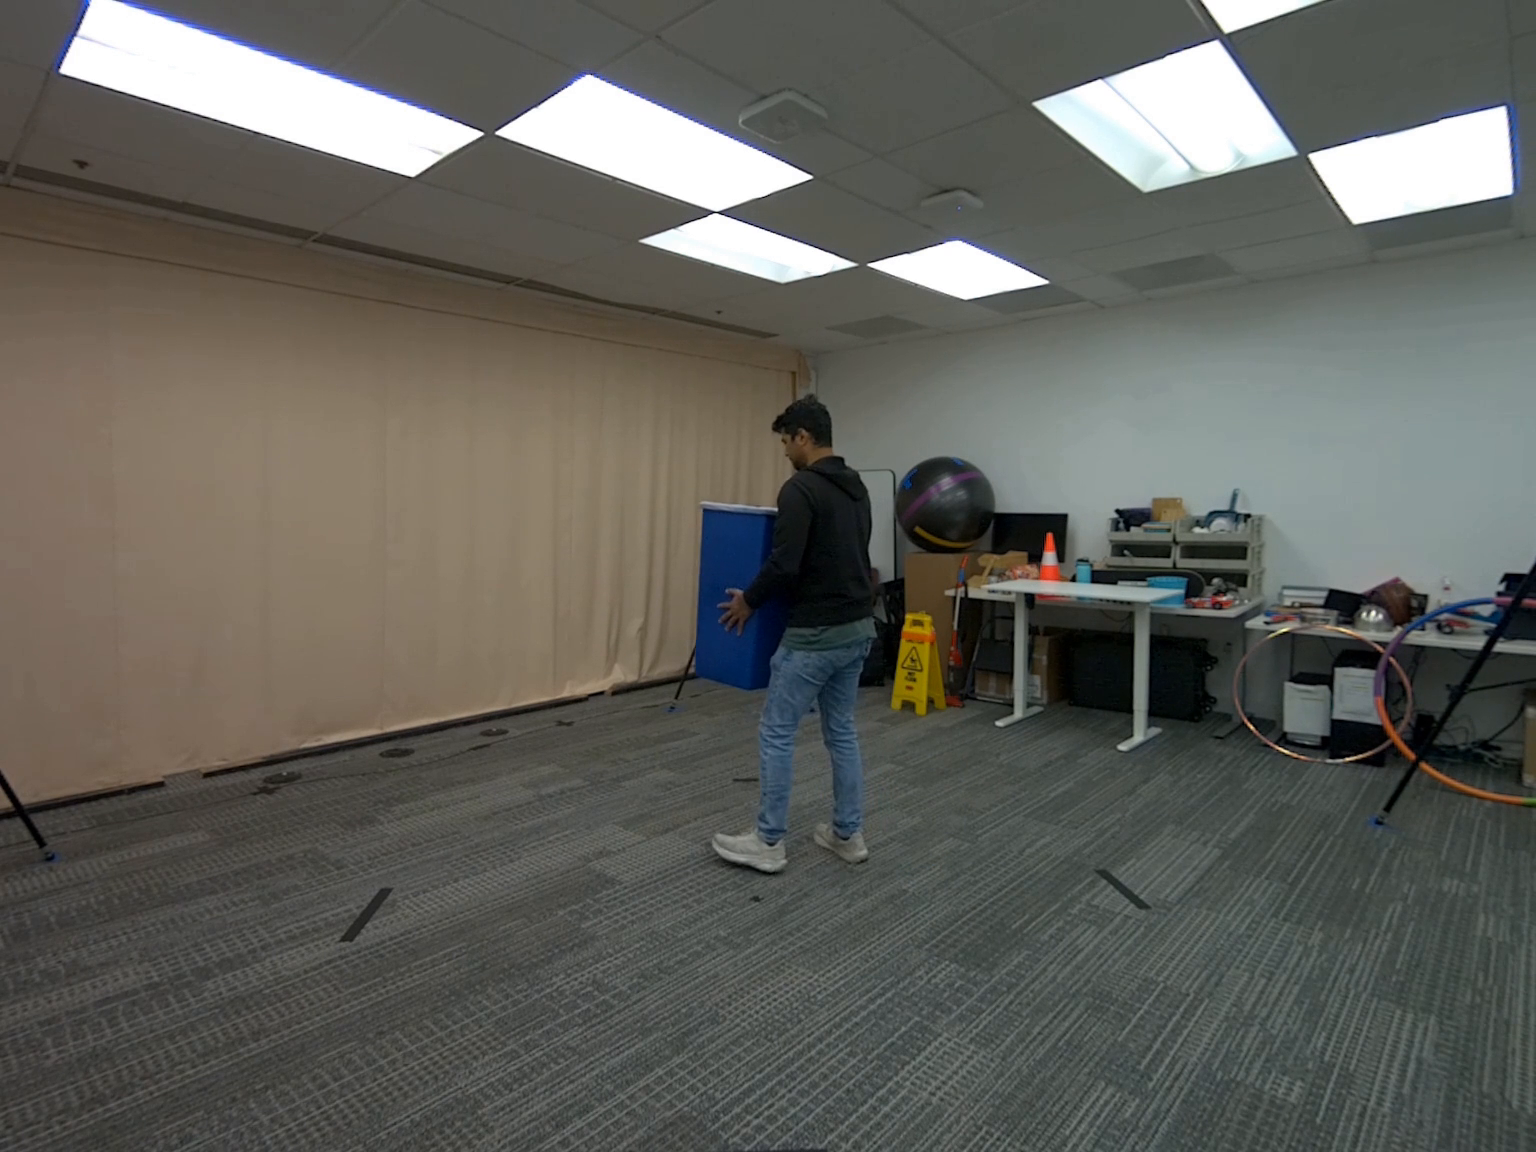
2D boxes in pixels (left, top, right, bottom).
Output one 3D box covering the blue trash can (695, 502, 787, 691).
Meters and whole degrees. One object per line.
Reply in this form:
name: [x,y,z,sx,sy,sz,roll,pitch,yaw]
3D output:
blue trash can: [-0.070,0.073,3.476,0.387,0.712,0.366,8,5,39]
